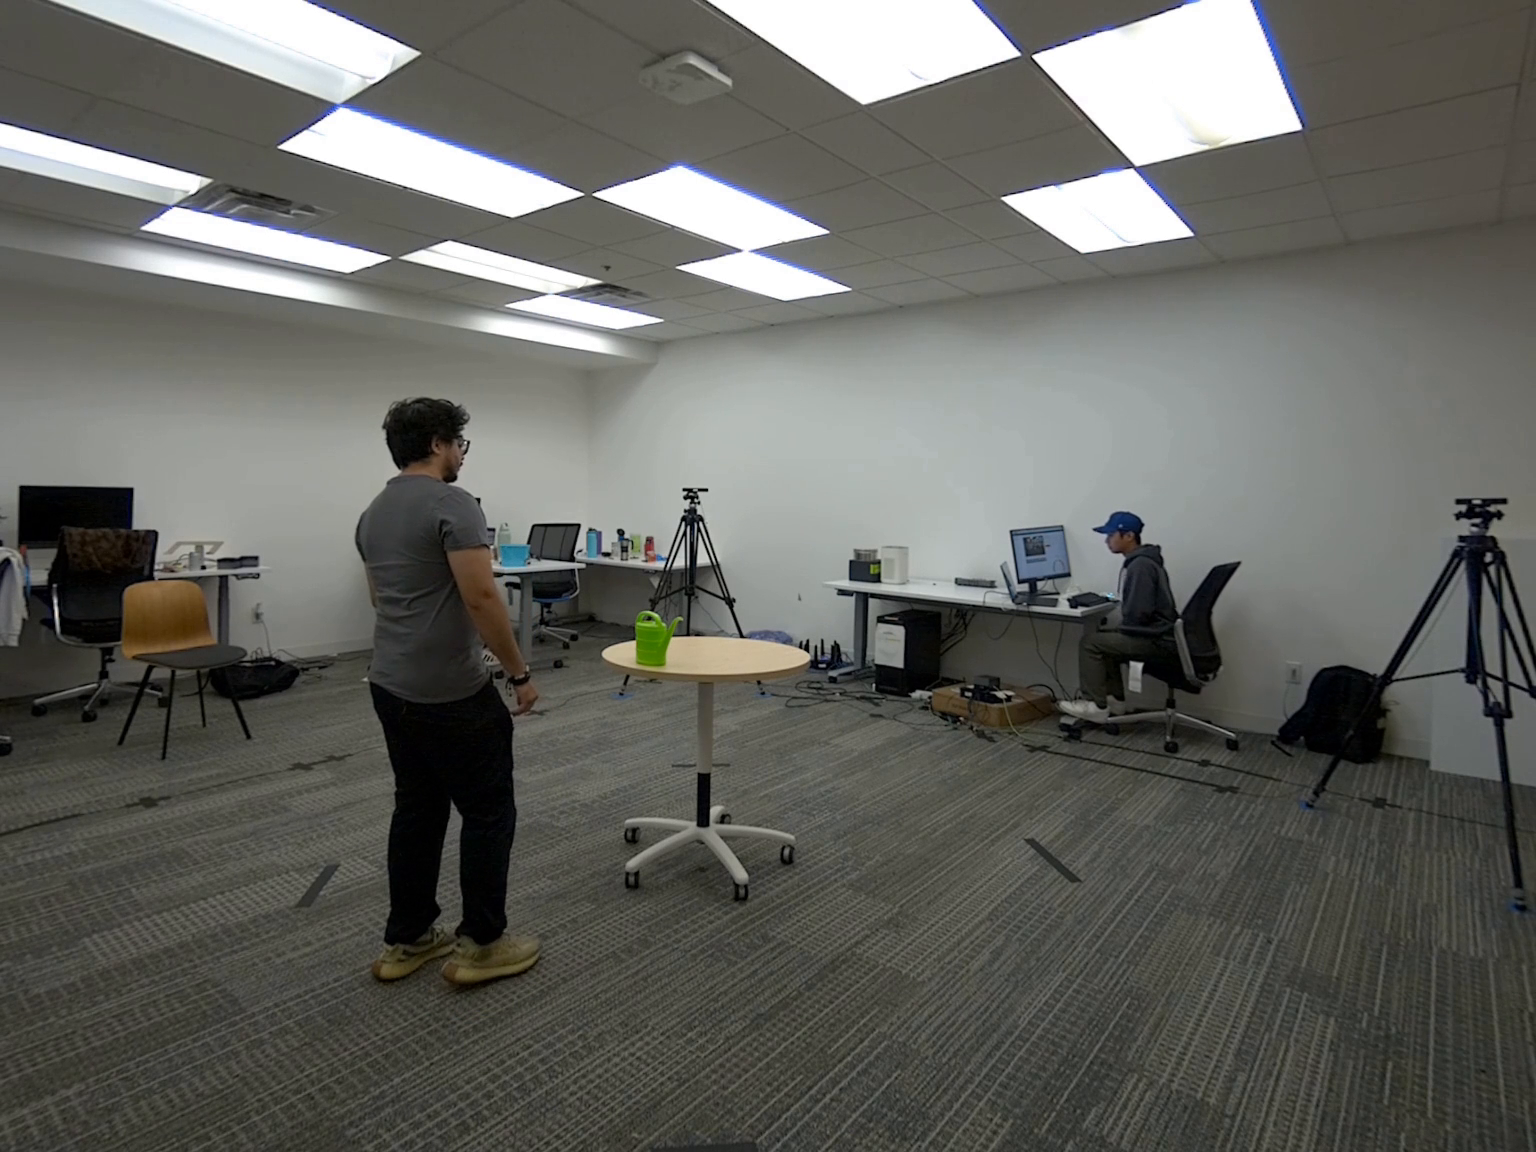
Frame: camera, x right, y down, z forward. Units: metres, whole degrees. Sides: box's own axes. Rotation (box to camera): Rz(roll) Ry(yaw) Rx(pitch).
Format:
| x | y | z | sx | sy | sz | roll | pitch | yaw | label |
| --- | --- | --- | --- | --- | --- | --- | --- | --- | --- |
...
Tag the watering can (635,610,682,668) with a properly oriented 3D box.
| x | y | z | sx | sy | sz | roll | pitch | yaw | label |
| --- | --- | --- | --- | --- | --- | --- | --- | --- | --- |
| -0.390 | 0.214 | 2.894 | 0.096 | 0.176 | 0.285 | 0 | 3 | -24 | watering can |
